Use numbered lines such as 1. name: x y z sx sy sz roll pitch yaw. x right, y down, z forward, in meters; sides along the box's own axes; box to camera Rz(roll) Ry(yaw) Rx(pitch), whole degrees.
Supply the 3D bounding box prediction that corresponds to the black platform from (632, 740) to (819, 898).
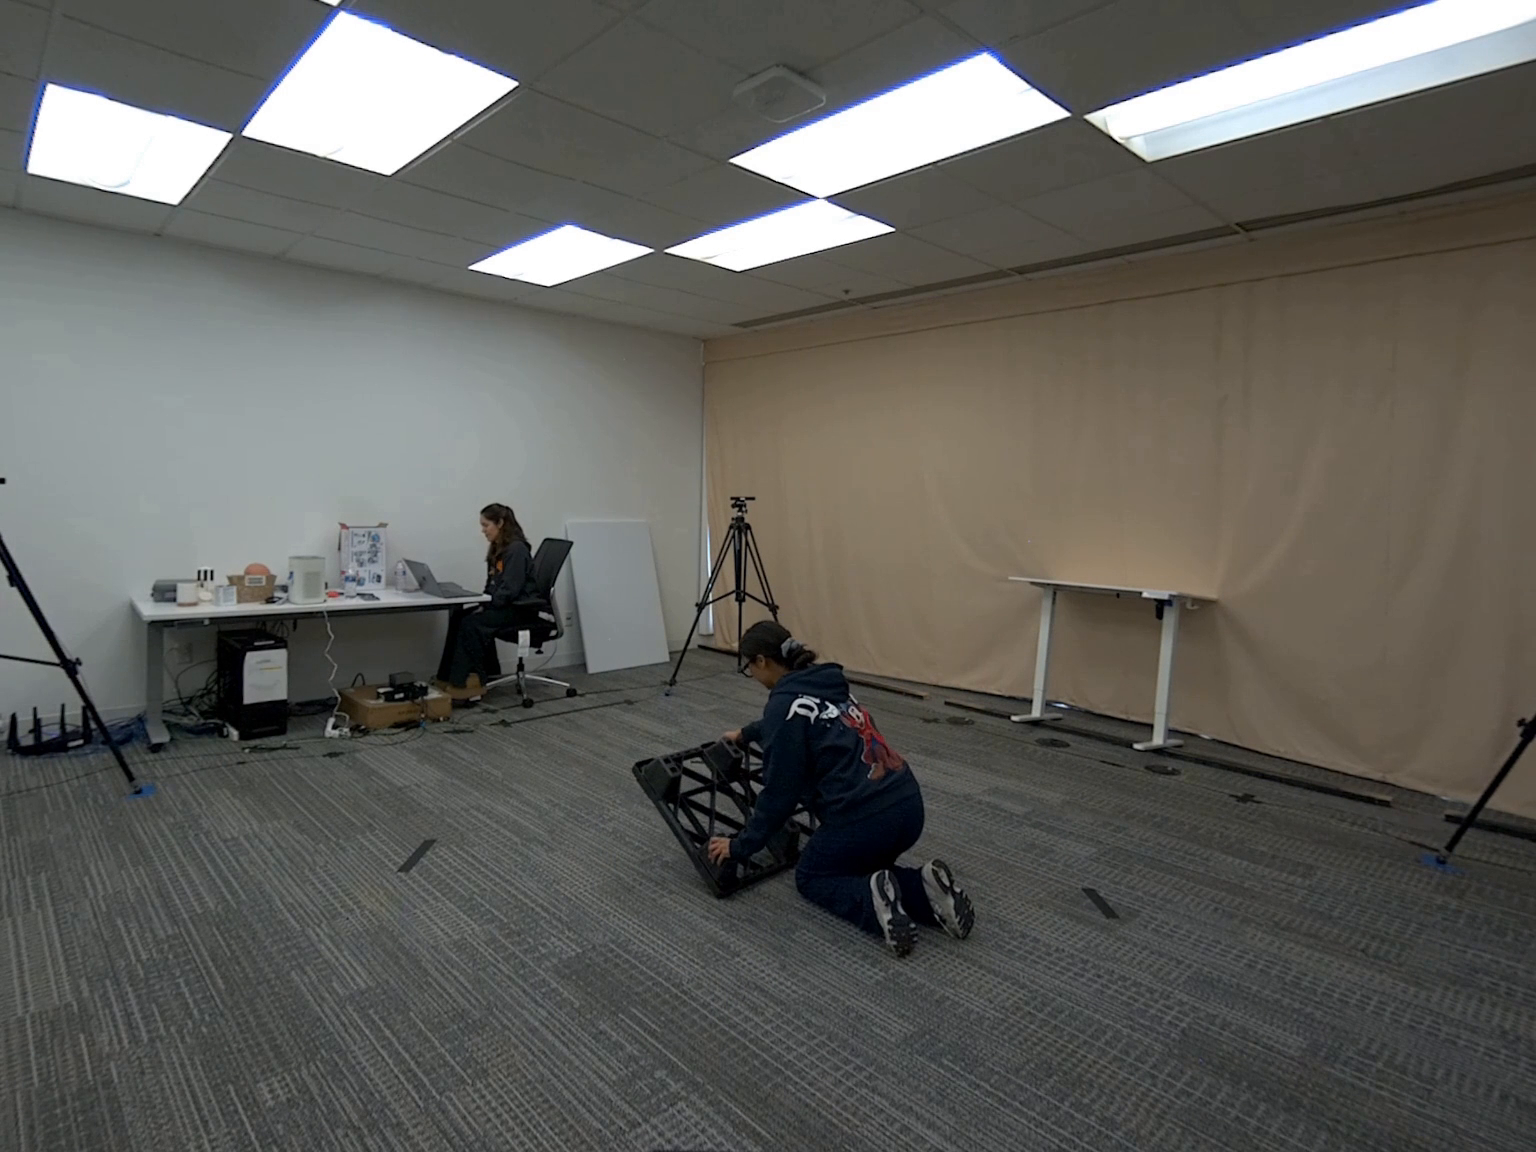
1. black platform: -0.070 0.870 3.325 0.787 0.142 0.623 -4 41 -47
